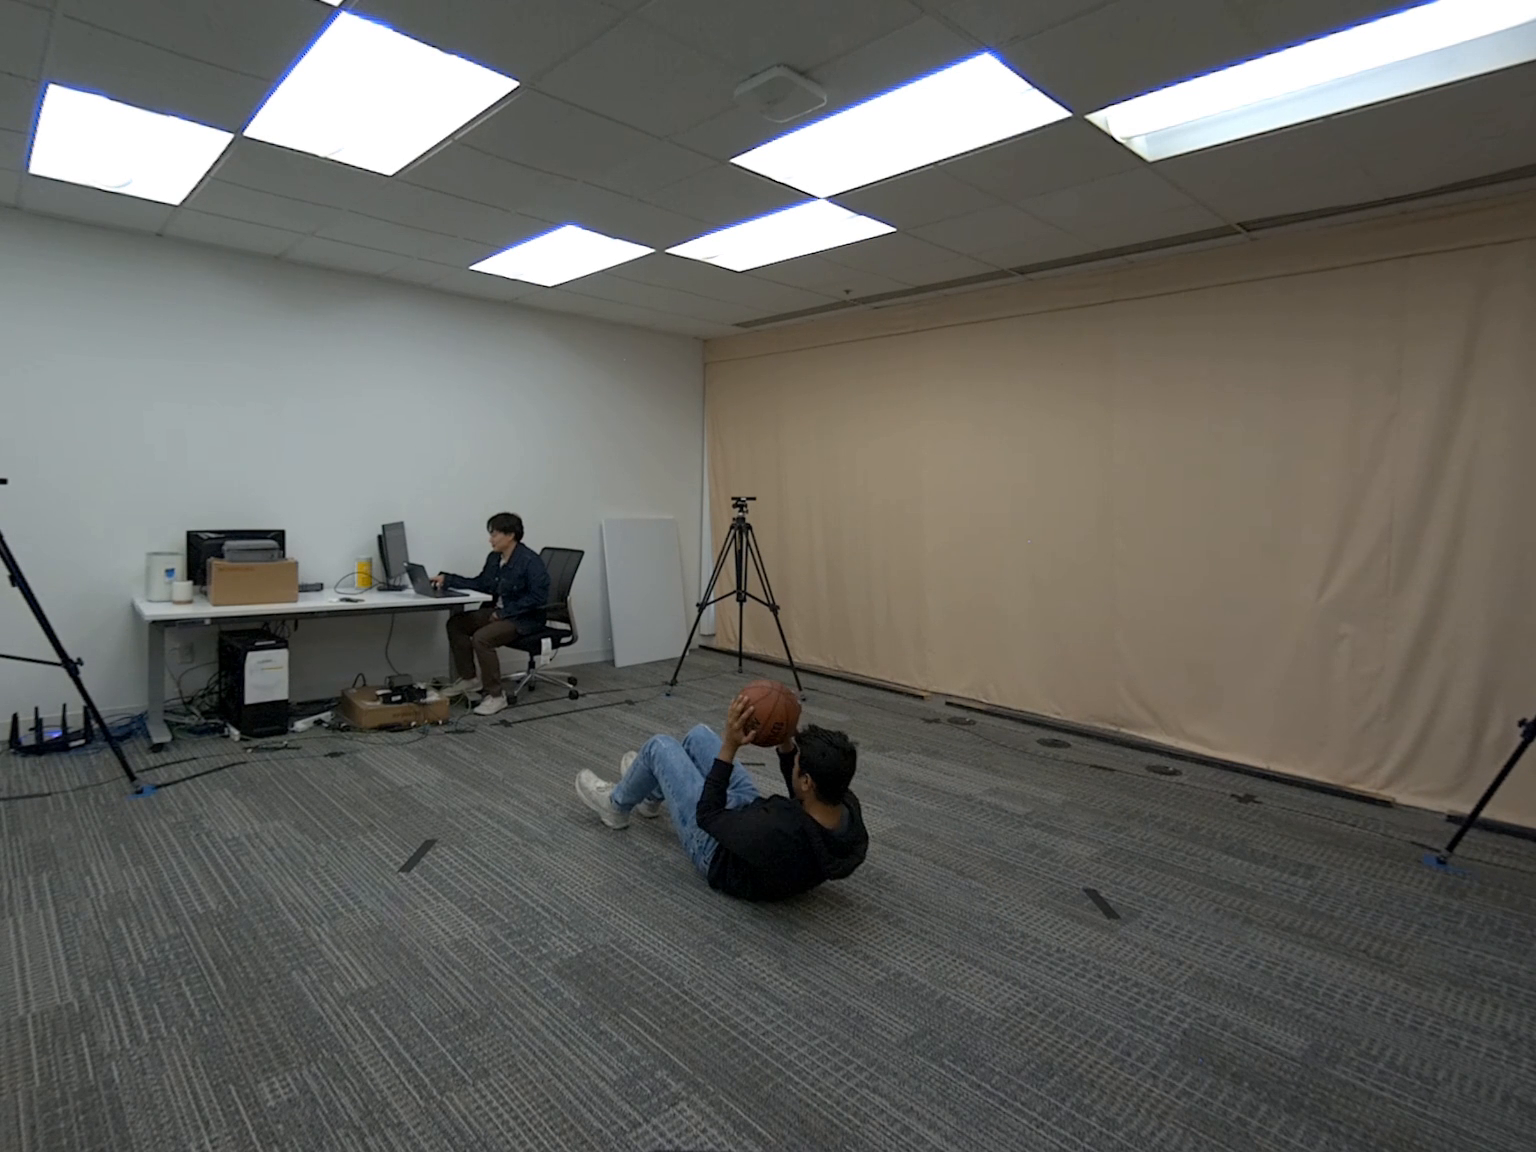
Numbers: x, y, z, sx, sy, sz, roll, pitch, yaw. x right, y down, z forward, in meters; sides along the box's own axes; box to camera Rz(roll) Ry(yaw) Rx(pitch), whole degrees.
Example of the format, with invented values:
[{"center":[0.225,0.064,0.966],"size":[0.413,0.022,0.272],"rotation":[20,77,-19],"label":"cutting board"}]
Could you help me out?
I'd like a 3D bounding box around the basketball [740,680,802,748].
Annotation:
[{"center":[-0.007,0.489,2.974],"size":[0.236,0.235,0.237],"rotation":[1,4,-1],"label":"basketball"}]
